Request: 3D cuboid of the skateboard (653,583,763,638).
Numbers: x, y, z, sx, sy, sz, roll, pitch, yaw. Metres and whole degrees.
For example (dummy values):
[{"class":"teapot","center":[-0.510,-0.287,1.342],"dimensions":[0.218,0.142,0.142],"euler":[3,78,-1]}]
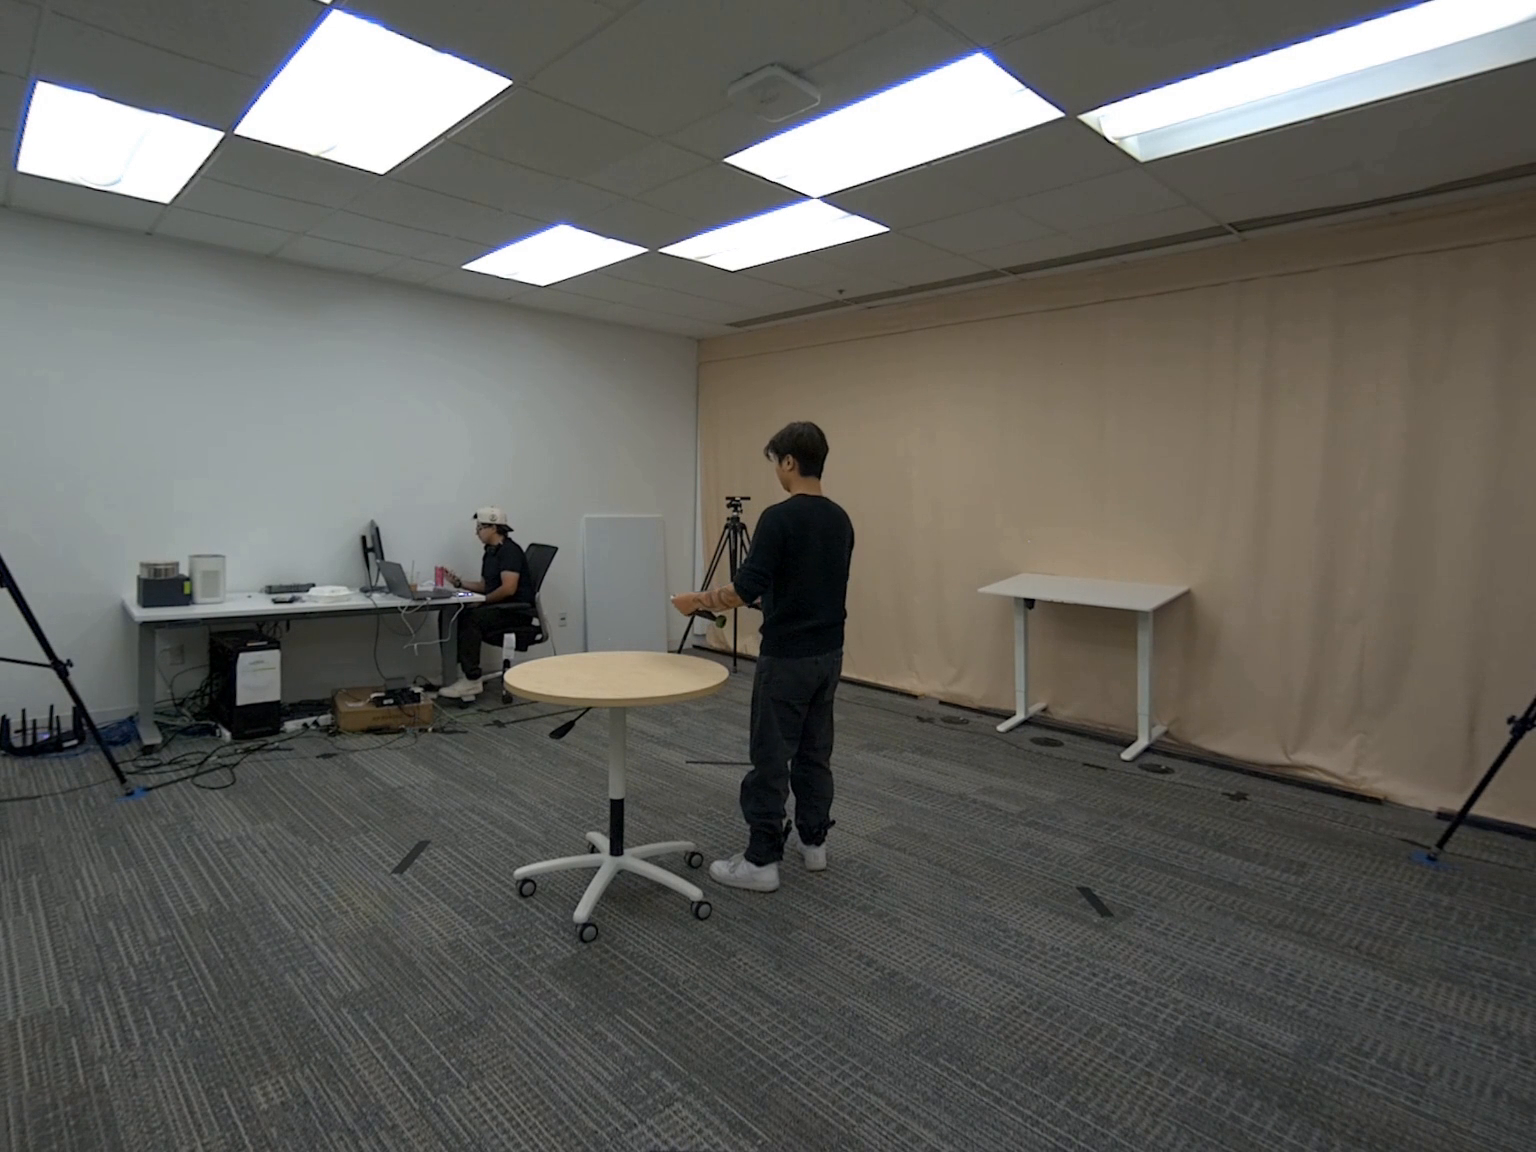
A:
[{"class":"skateboard","center":[-0.157,0.118,3.481],"dimensions":[0.198,0.110,0.771],"euler":[16,11,27]}]
